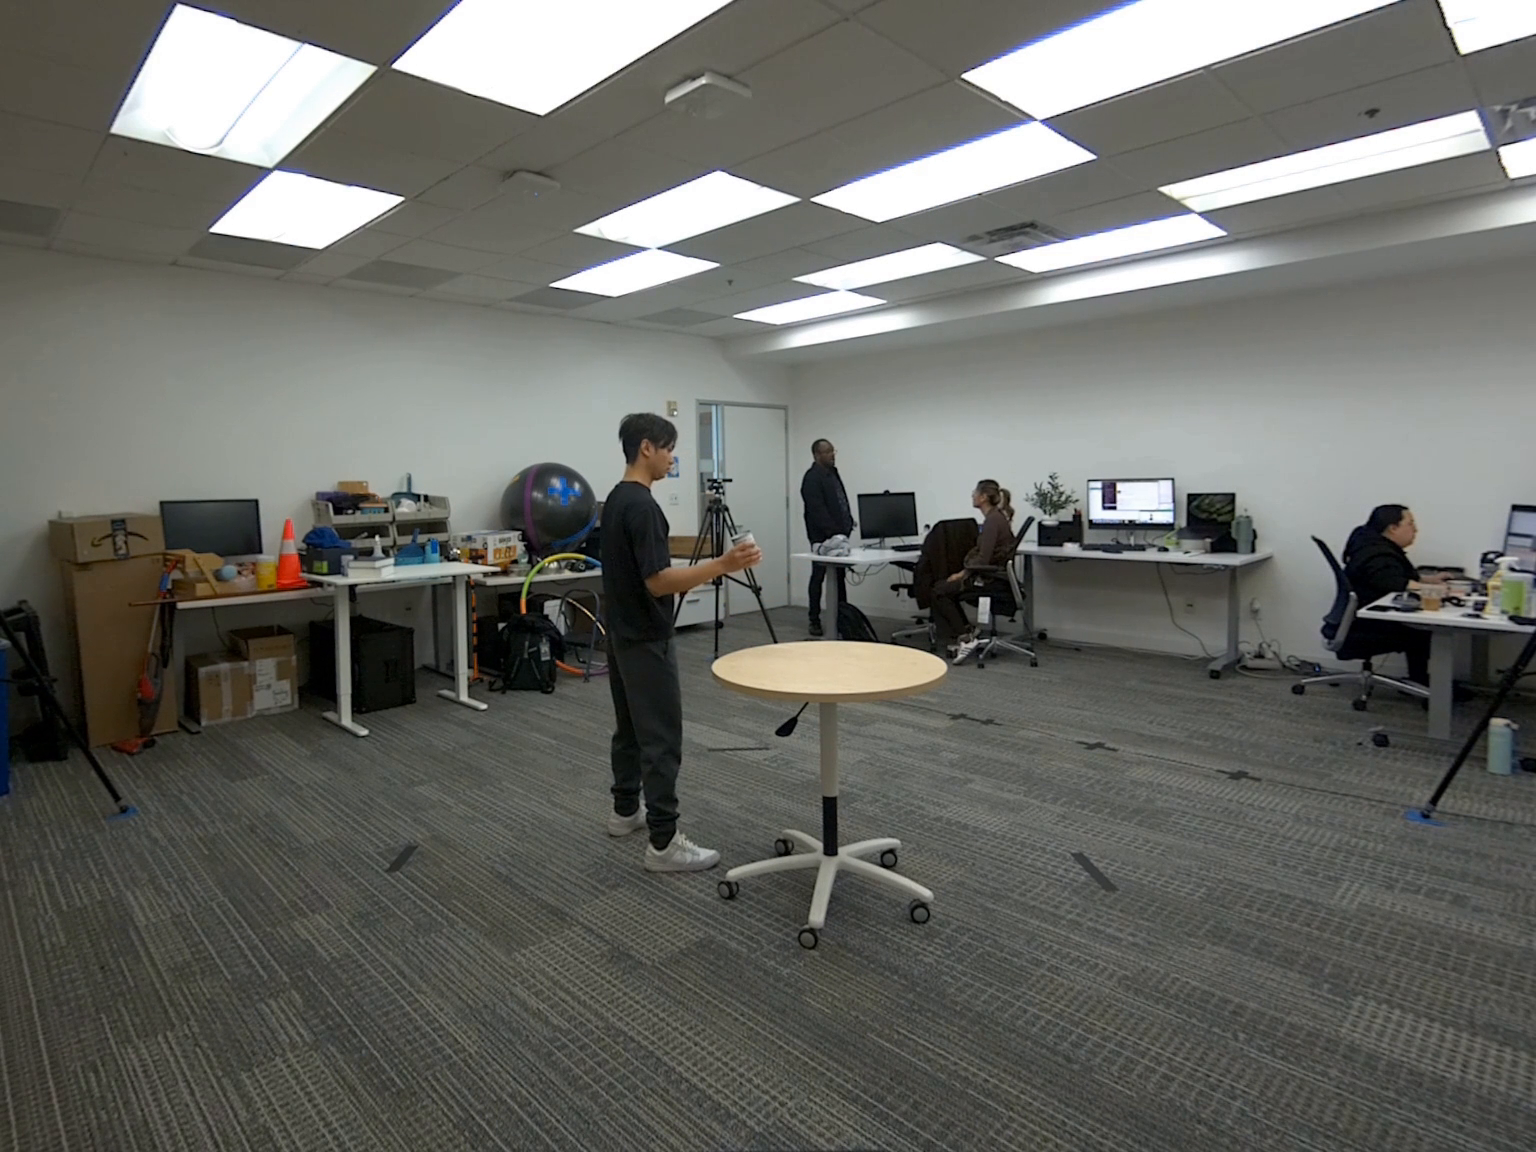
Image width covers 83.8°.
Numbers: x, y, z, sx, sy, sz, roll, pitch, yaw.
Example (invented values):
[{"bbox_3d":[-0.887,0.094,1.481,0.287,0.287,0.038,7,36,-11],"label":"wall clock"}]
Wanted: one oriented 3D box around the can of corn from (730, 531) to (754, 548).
[{"bbox_3d":[-0.074,-0.094,2.971,0.074,0.109,0.075,-20,13,3],"label":"can of corn"}]
